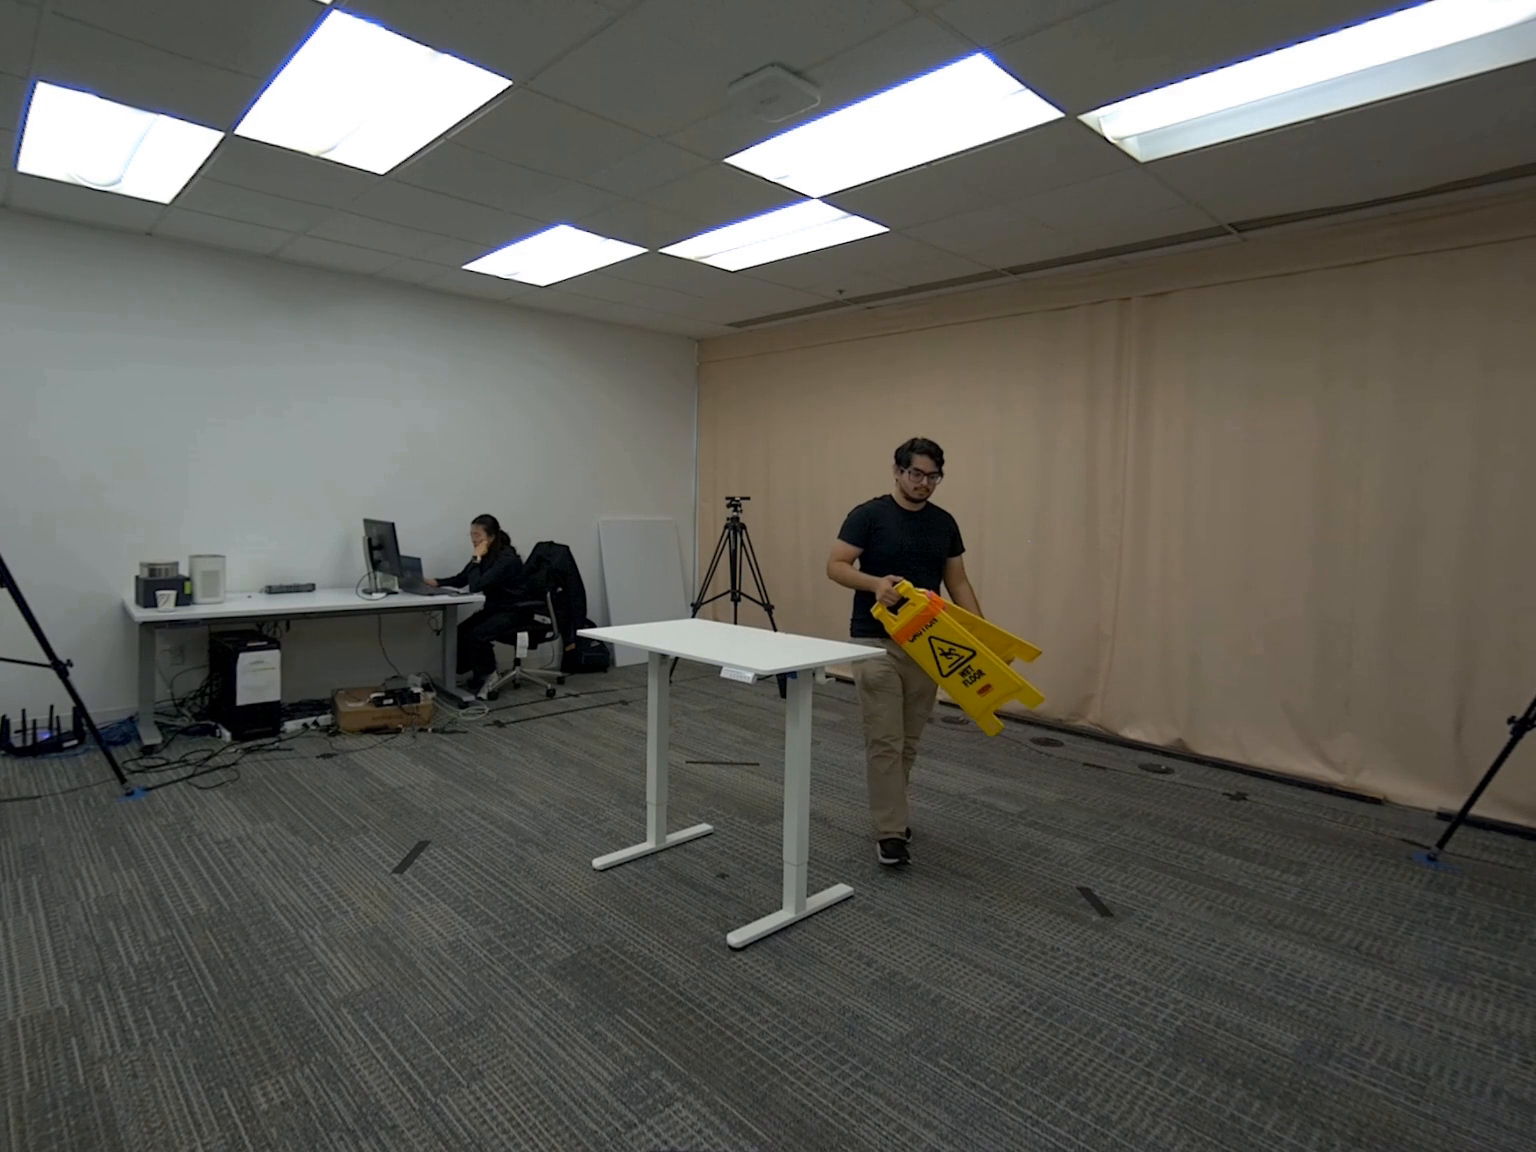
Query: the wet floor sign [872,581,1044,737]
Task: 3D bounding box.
[{"bbox_3d":[0.687,0.259,3.175,0.642,0.281,0.292,34,35,-6],"label":"wet floor sign"}]
